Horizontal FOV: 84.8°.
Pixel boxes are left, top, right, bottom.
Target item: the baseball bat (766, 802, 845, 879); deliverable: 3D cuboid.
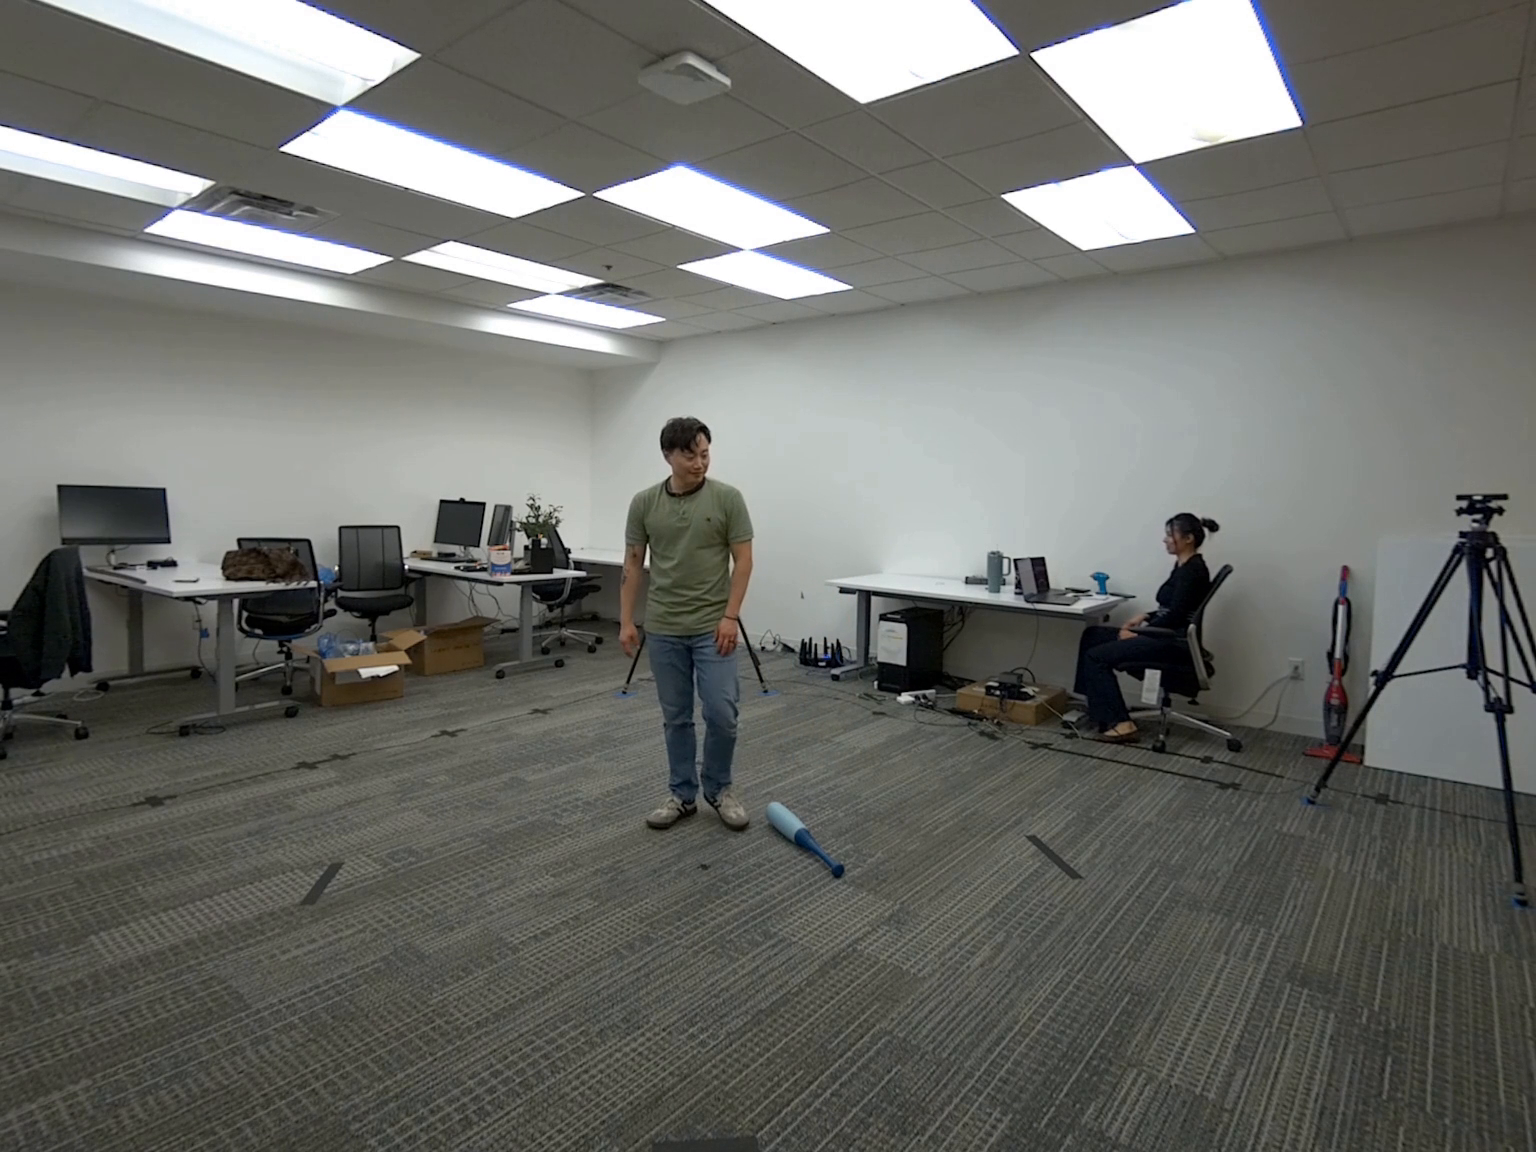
[{"bbox_3d":[0.133,1.015,3.295,0.087,0.088,0.559,-1,9,-24],"label":"baseball bat"}]
